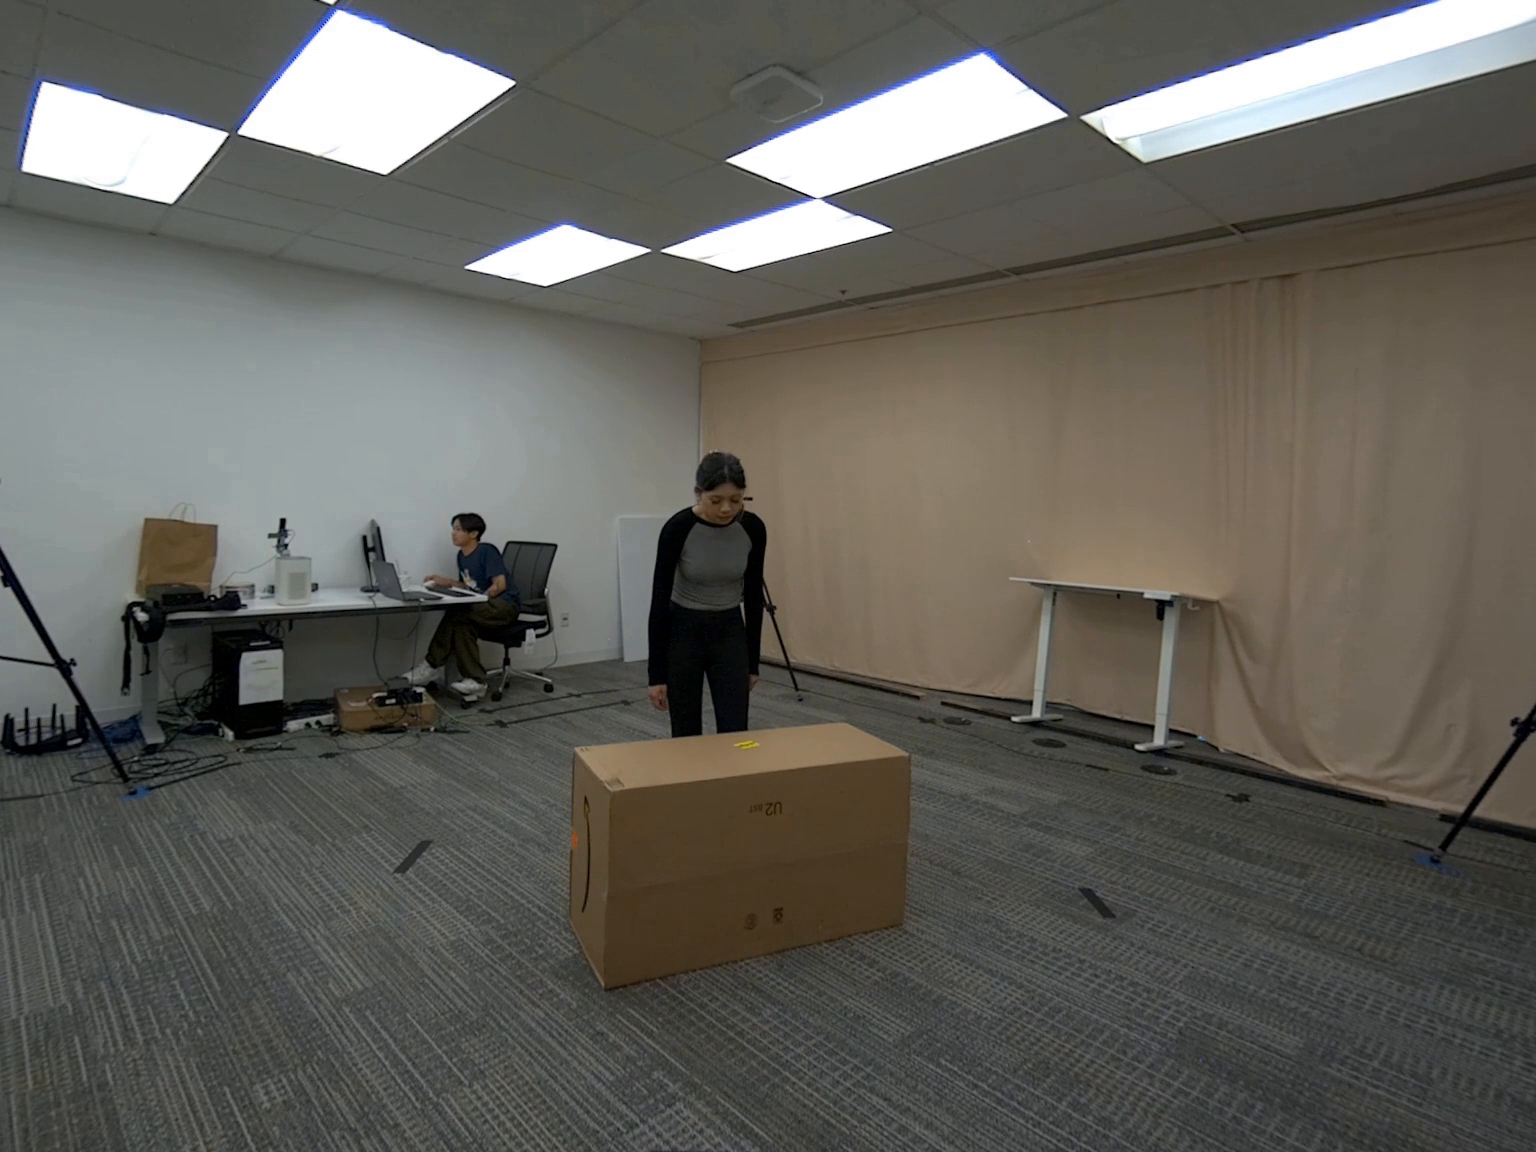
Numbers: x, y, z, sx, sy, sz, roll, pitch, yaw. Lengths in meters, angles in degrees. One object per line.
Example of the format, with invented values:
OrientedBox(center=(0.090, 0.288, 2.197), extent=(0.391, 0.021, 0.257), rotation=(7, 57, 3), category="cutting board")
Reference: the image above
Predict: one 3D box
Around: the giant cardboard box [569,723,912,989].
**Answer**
OrientedBox(center=(-0.091, 0.854, 2.742), extent=(1.008, 0.576, 0.435), rotation=(0, 4, -24), category="giant cardboard box")
